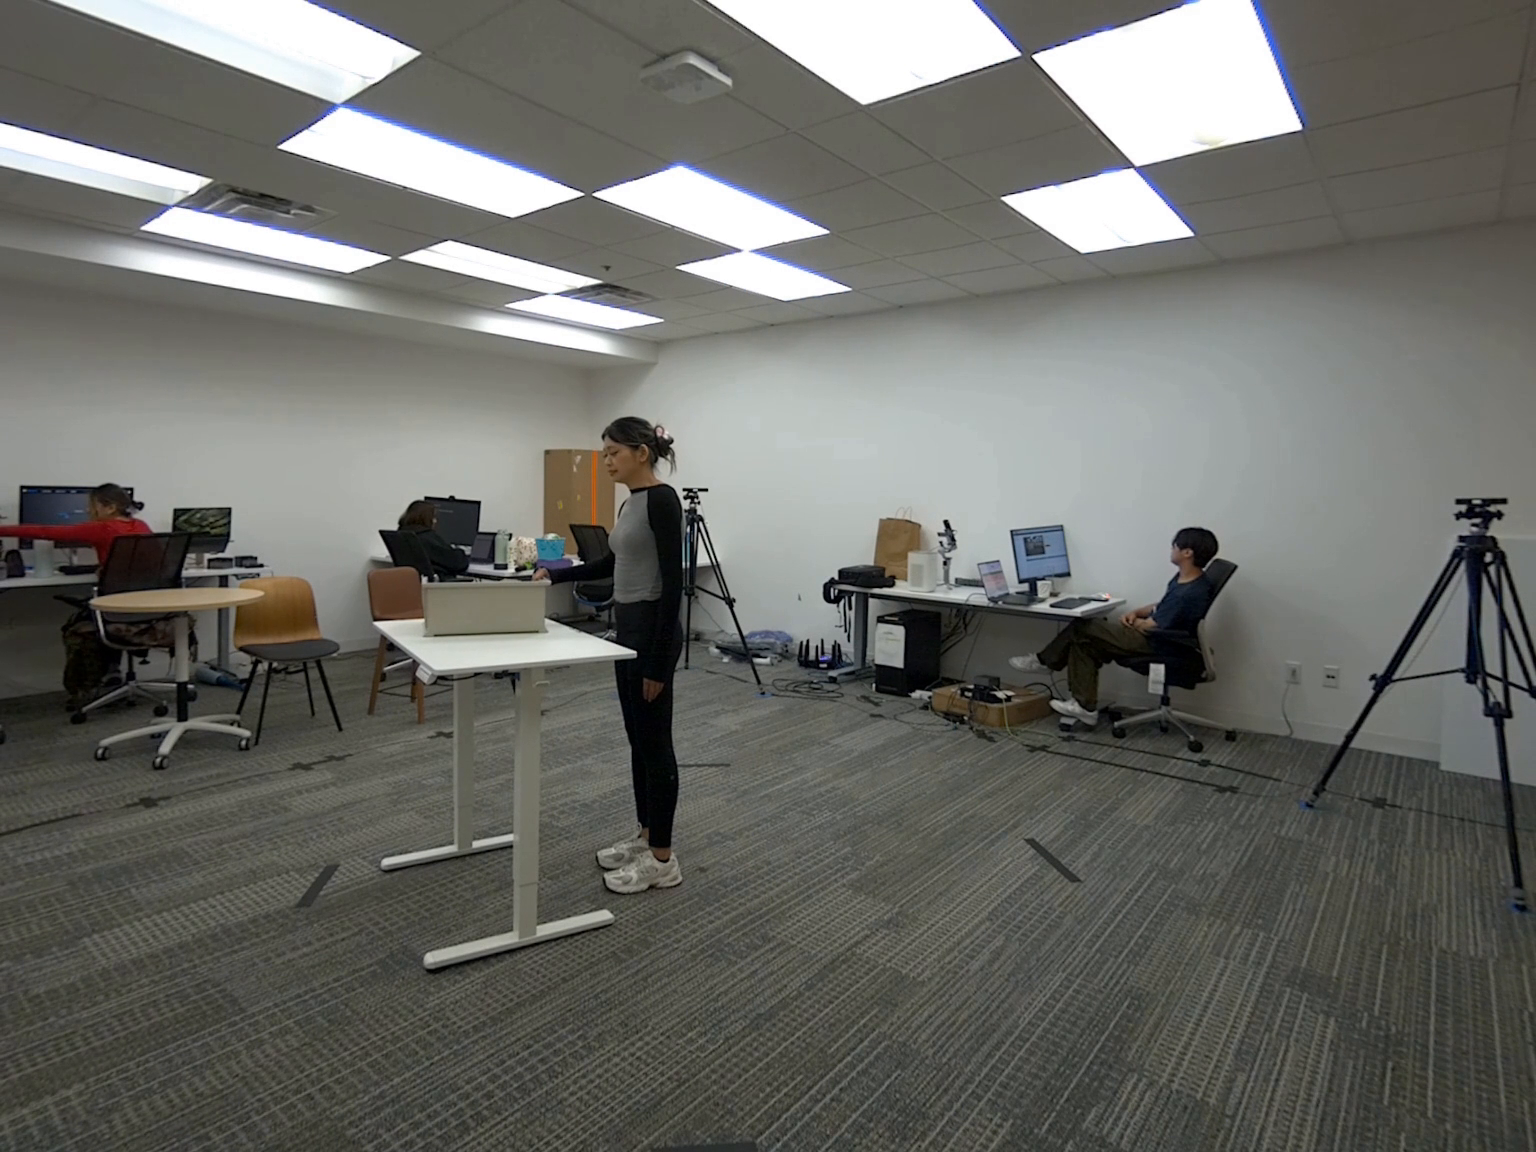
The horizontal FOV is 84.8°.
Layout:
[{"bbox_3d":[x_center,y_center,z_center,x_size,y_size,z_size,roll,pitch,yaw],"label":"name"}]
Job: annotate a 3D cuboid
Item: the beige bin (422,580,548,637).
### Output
[{"bbox_3d":[-1.030,0.096,3.051,0.415,0.188,0.386,0,7,-18],"label":"beige bin"}]
